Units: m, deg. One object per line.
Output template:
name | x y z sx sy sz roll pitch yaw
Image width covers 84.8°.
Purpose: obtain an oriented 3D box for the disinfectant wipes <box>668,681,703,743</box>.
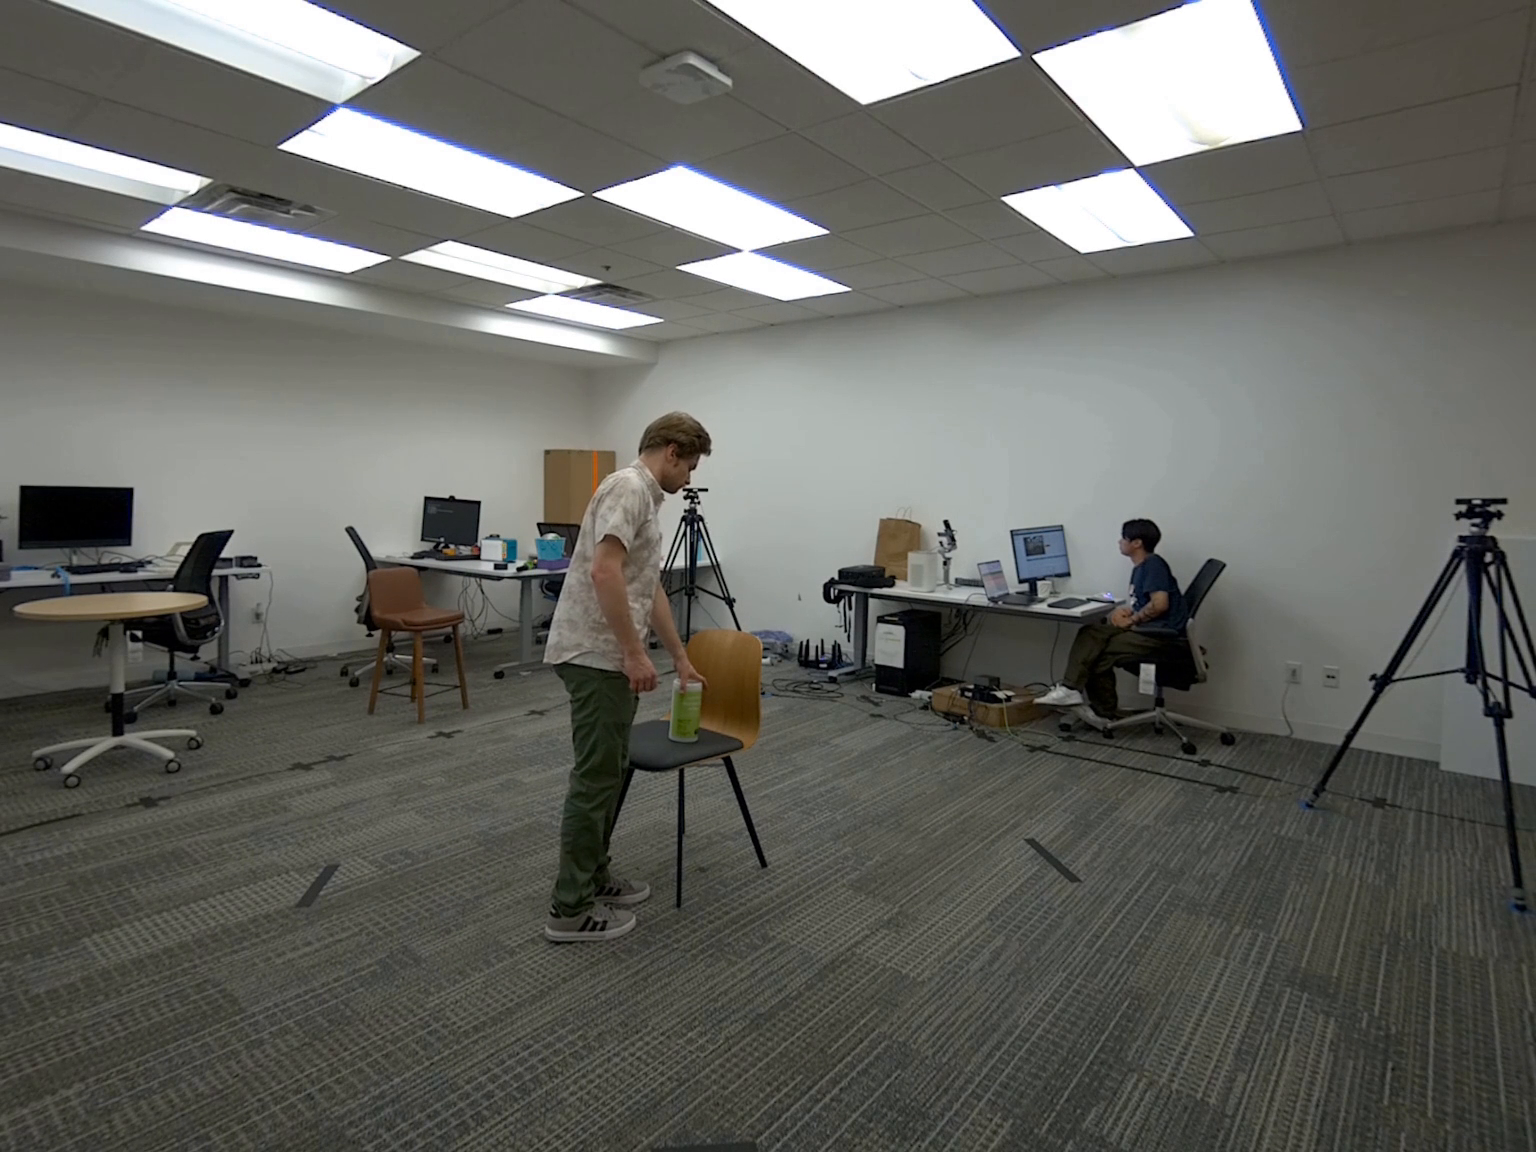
disinfectant wipes | -0.313 0.491 3.127 0.117 0.217 0.118 5 2 -2
